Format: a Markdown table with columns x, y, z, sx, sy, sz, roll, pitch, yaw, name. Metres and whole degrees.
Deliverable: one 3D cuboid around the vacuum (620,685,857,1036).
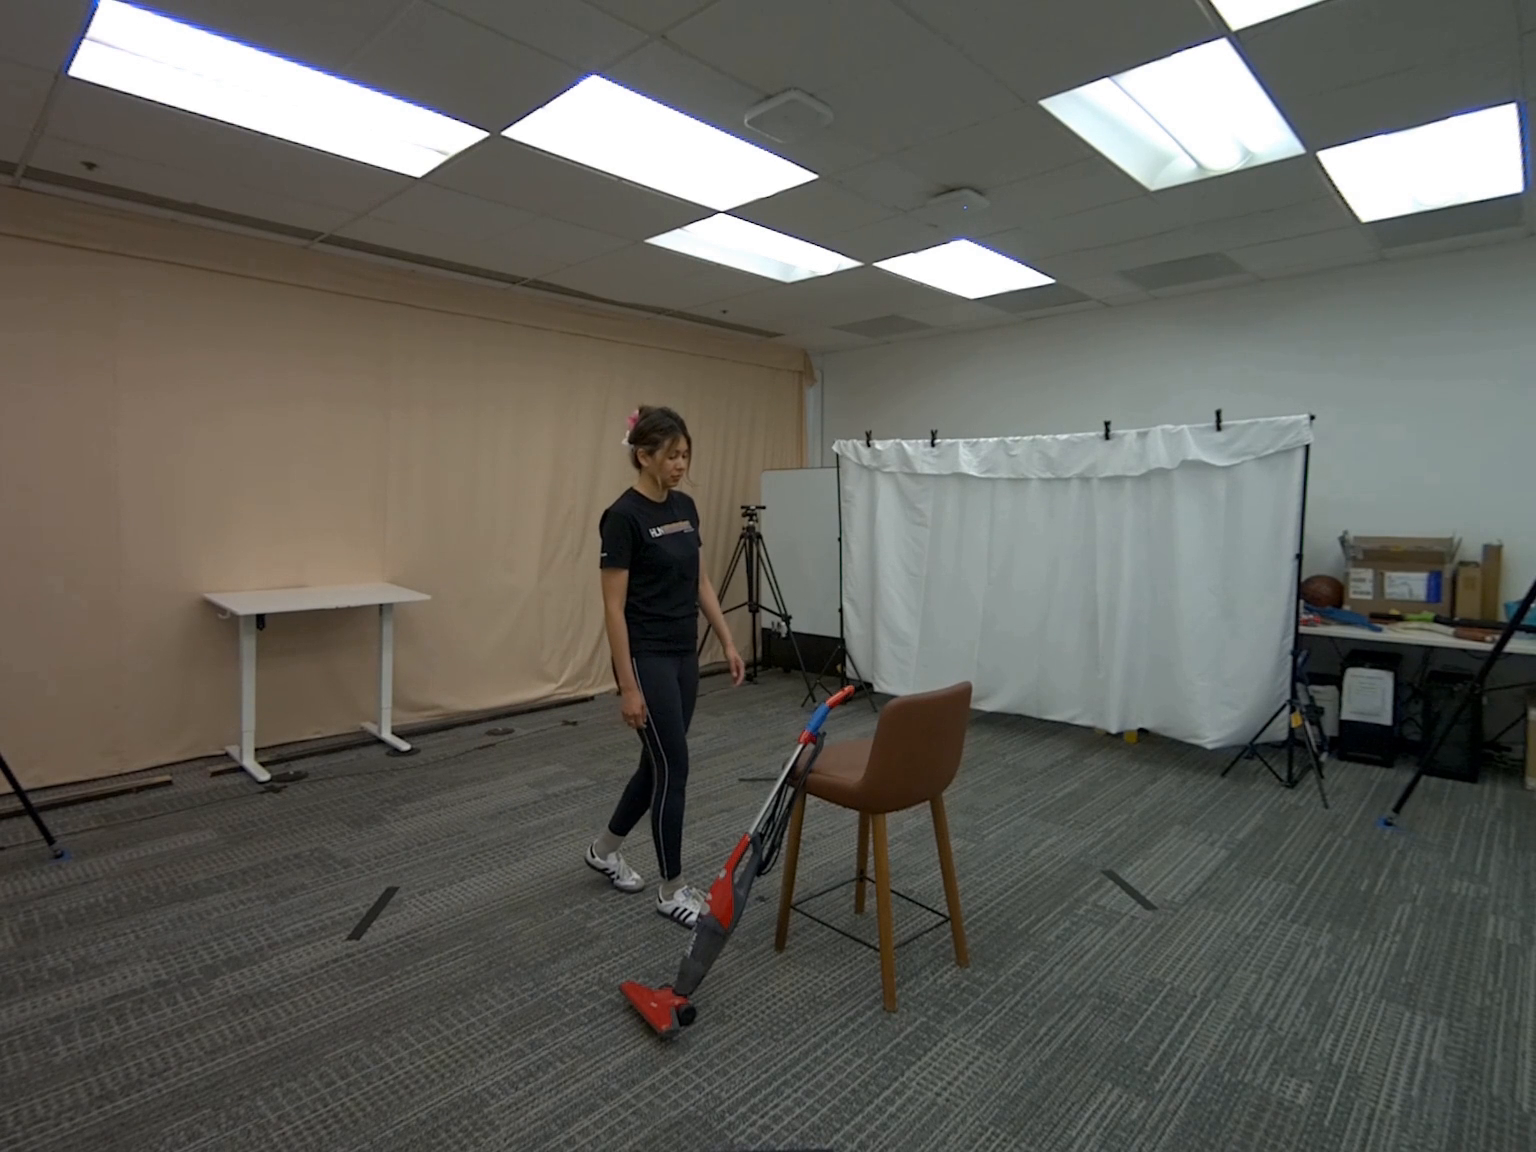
| x | y | z | sx | sy | sz | roll | pitch | yaw | name |
| --- | --- | --- | --- | --- | --- | --- | --- | --- | --- |
| -0.028 | 0.771 | 2.432 | 0.261 | 1.048 | 0.139 | 10 | -29 | 50 | vacuum |
